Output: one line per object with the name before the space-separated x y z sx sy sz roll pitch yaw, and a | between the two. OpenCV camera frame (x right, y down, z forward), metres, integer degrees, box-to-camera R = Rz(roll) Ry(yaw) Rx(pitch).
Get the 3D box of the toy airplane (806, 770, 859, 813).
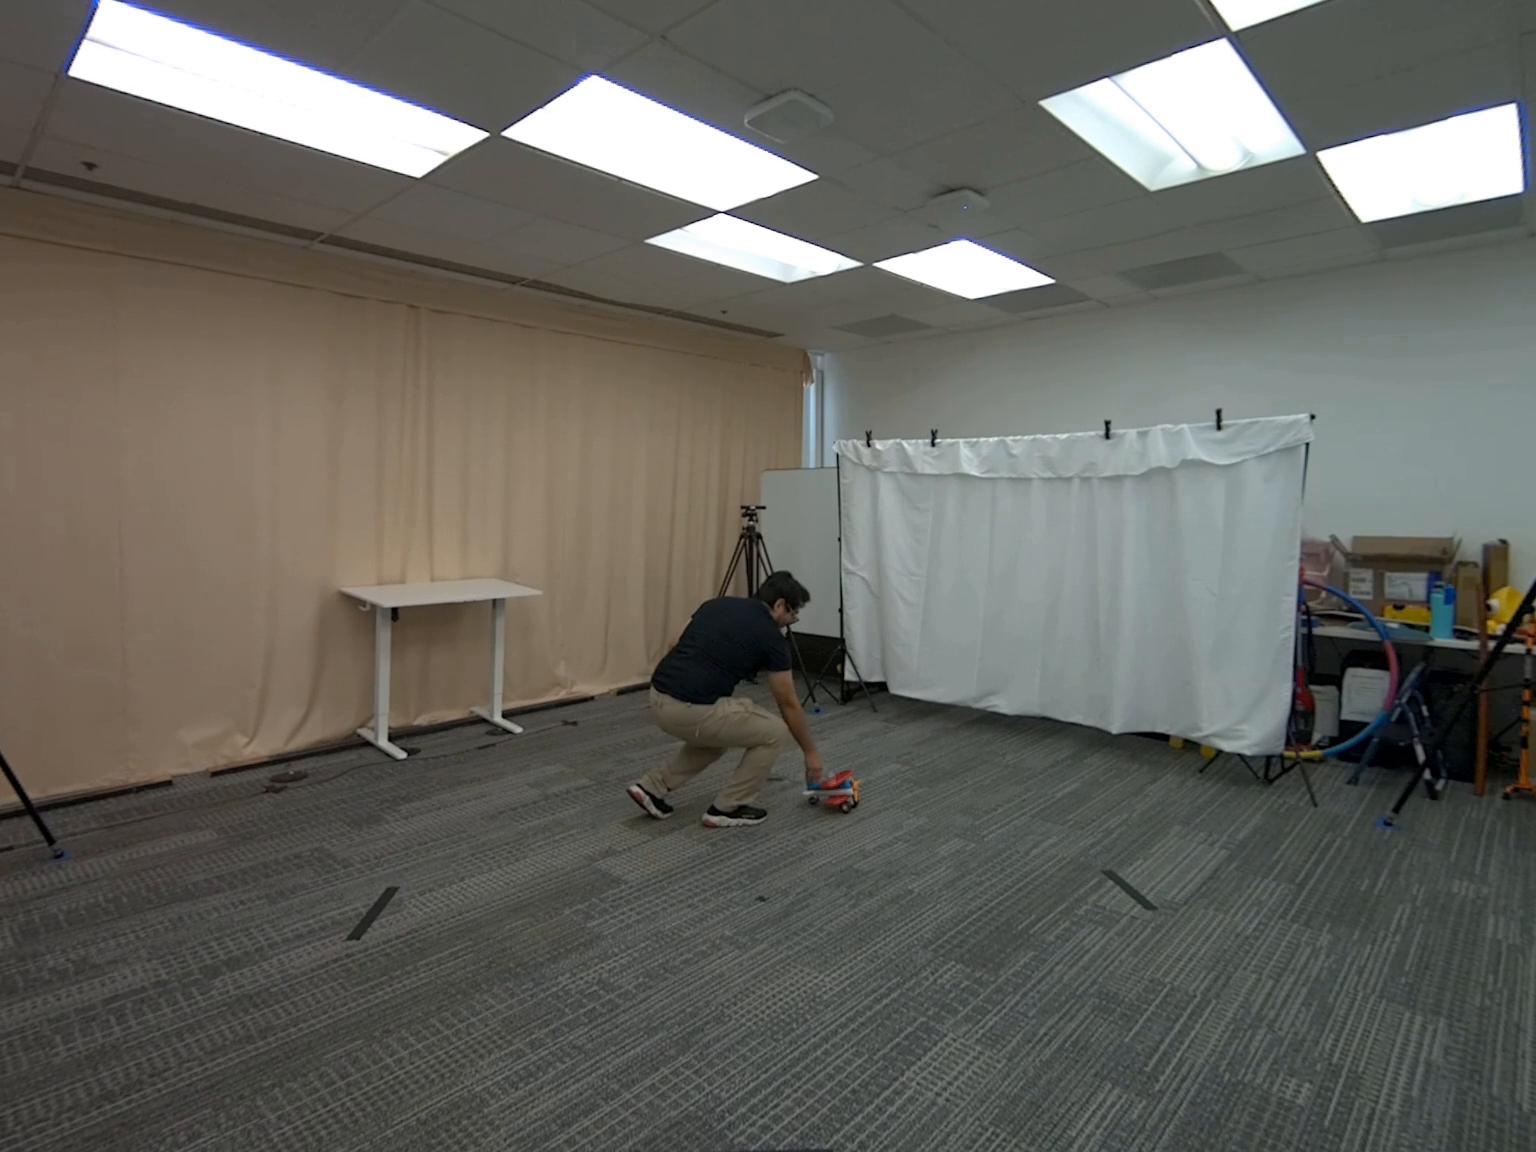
toy airplane | 0.290 0.999 3.877 0.260 0.156 0.251 2 4 1
